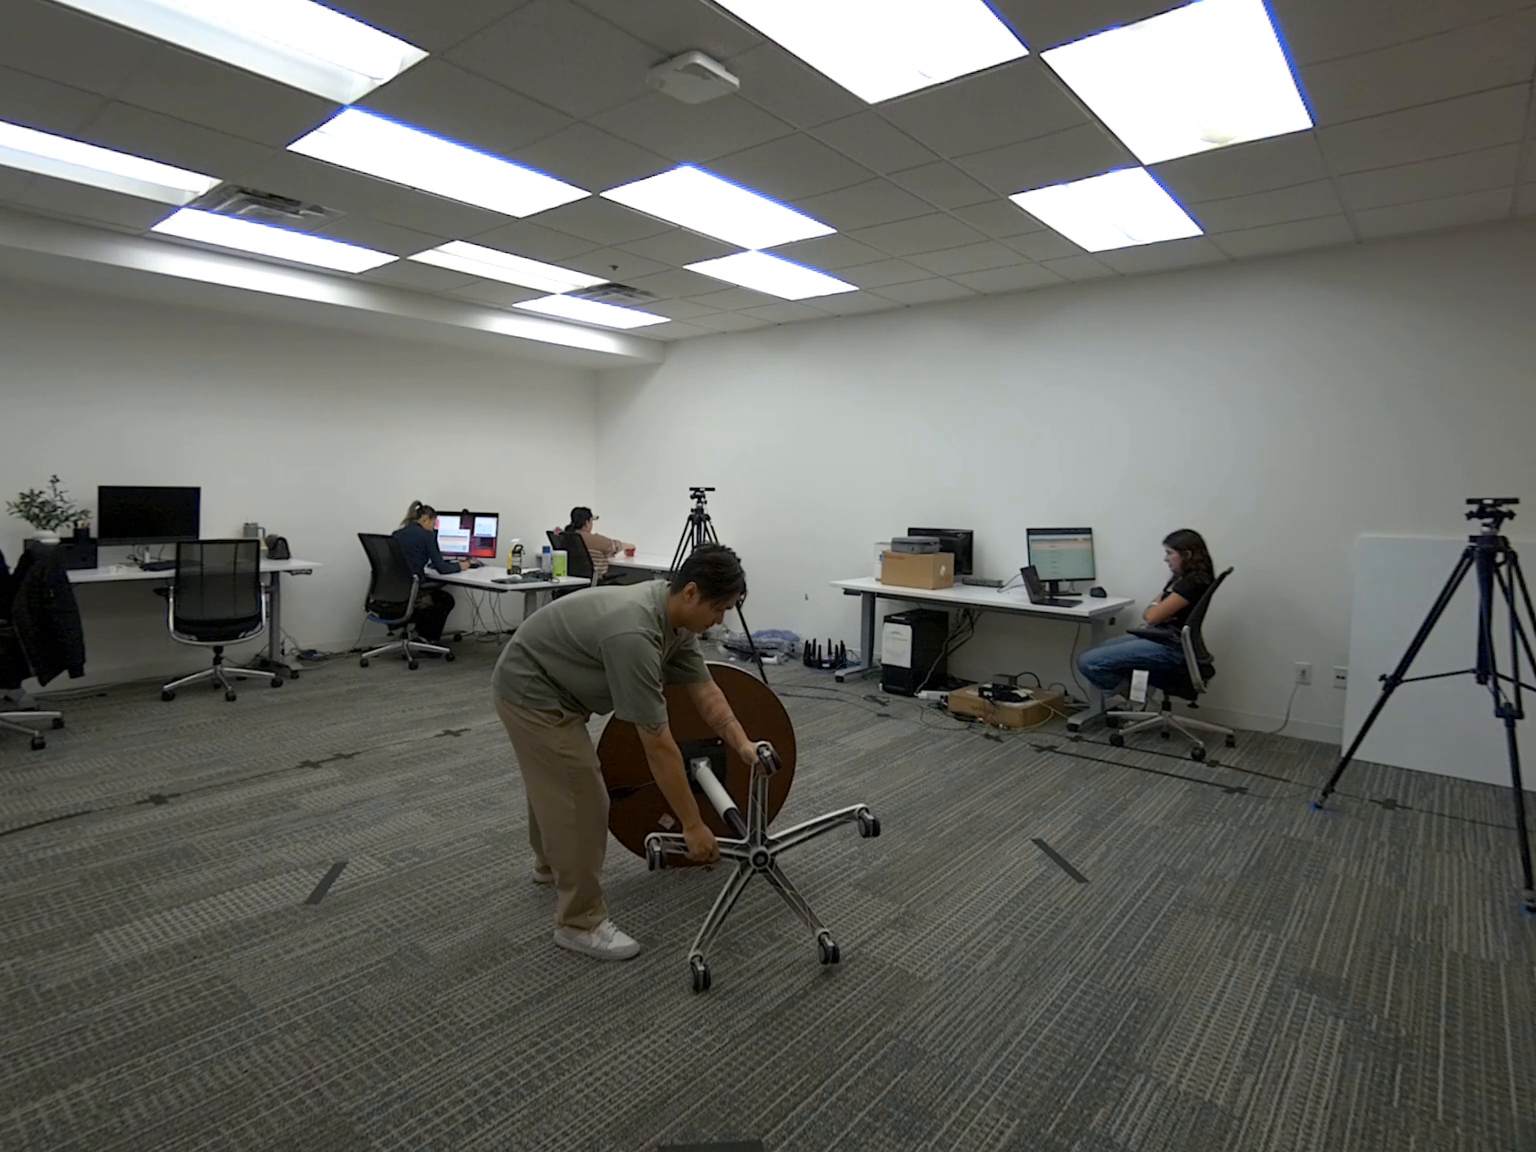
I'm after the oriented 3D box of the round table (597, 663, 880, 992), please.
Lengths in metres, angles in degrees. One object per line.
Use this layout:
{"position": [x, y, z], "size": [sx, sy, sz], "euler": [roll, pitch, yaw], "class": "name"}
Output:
{"position": [-0.140, 0.759, 2.724], "size": [0.771, 0.779, 0.807], "euler": [0, 9, -18], "class": "round table"}
